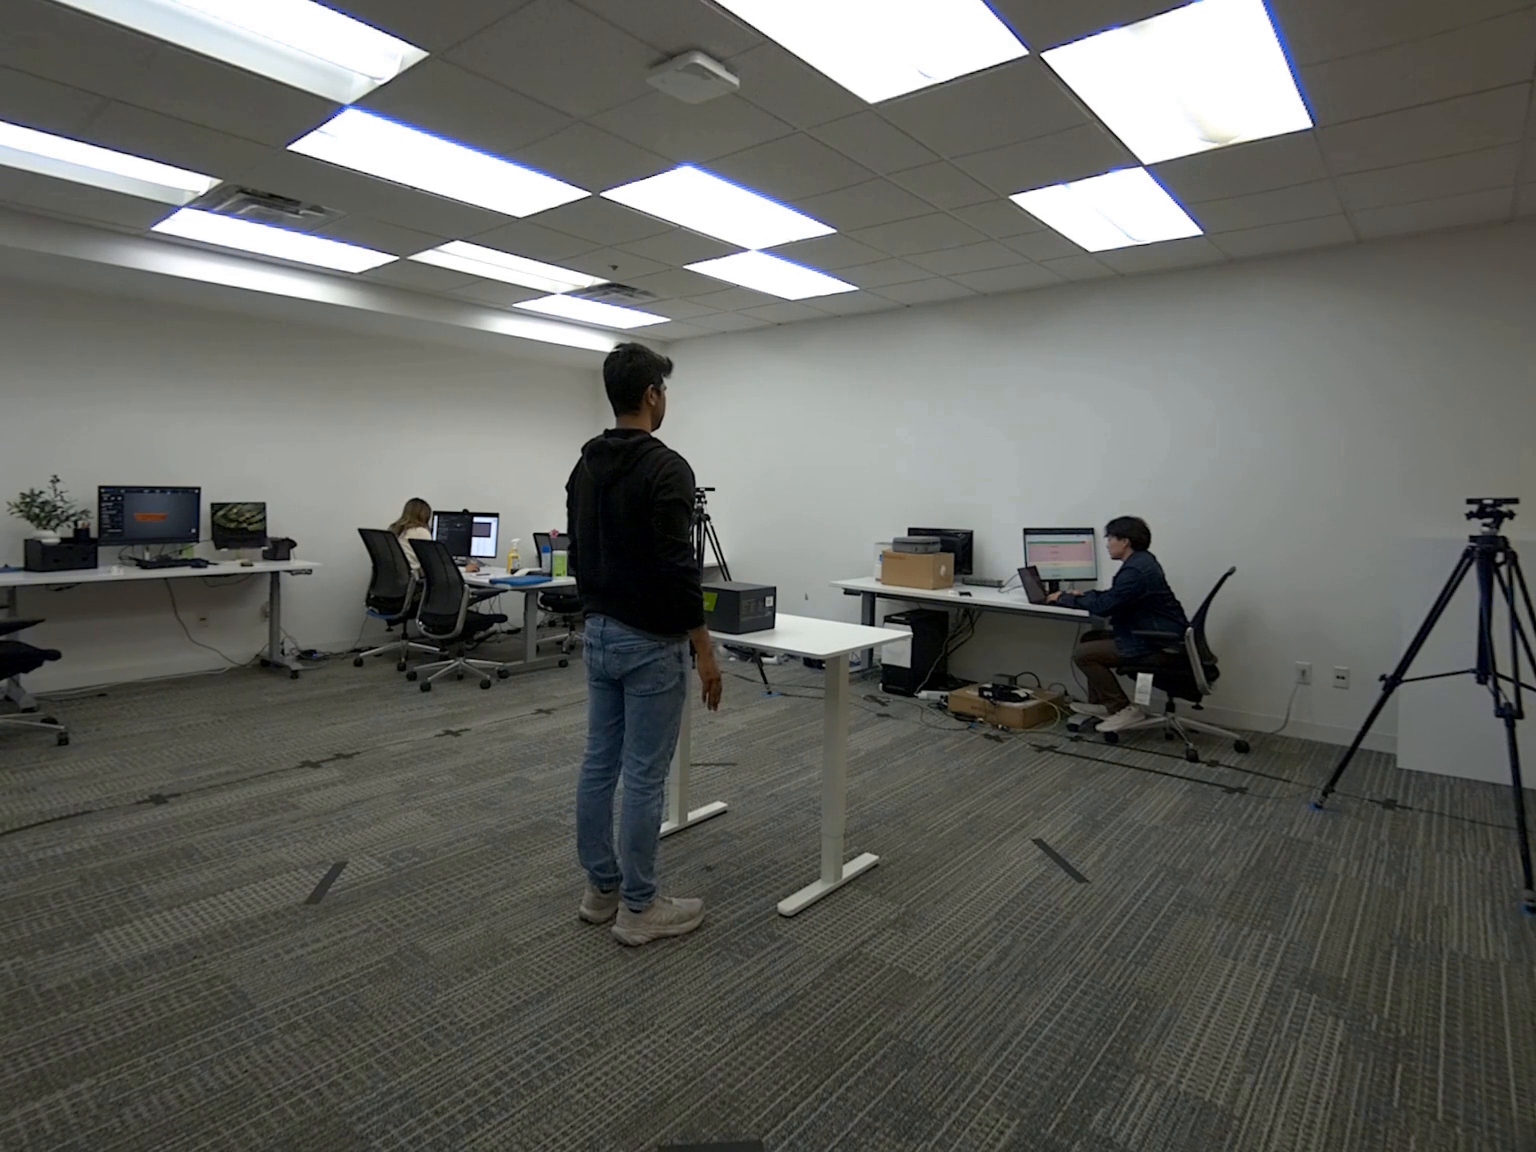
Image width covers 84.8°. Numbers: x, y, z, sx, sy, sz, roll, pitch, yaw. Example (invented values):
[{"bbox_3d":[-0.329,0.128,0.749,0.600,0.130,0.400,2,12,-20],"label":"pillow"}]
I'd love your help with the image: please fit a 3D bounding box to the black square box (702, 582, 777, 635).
[{"bbox_3d":[-0.134,0.107,3.090,0.235,0.155,0.210,5,6,39],"label":"black square box"}]
